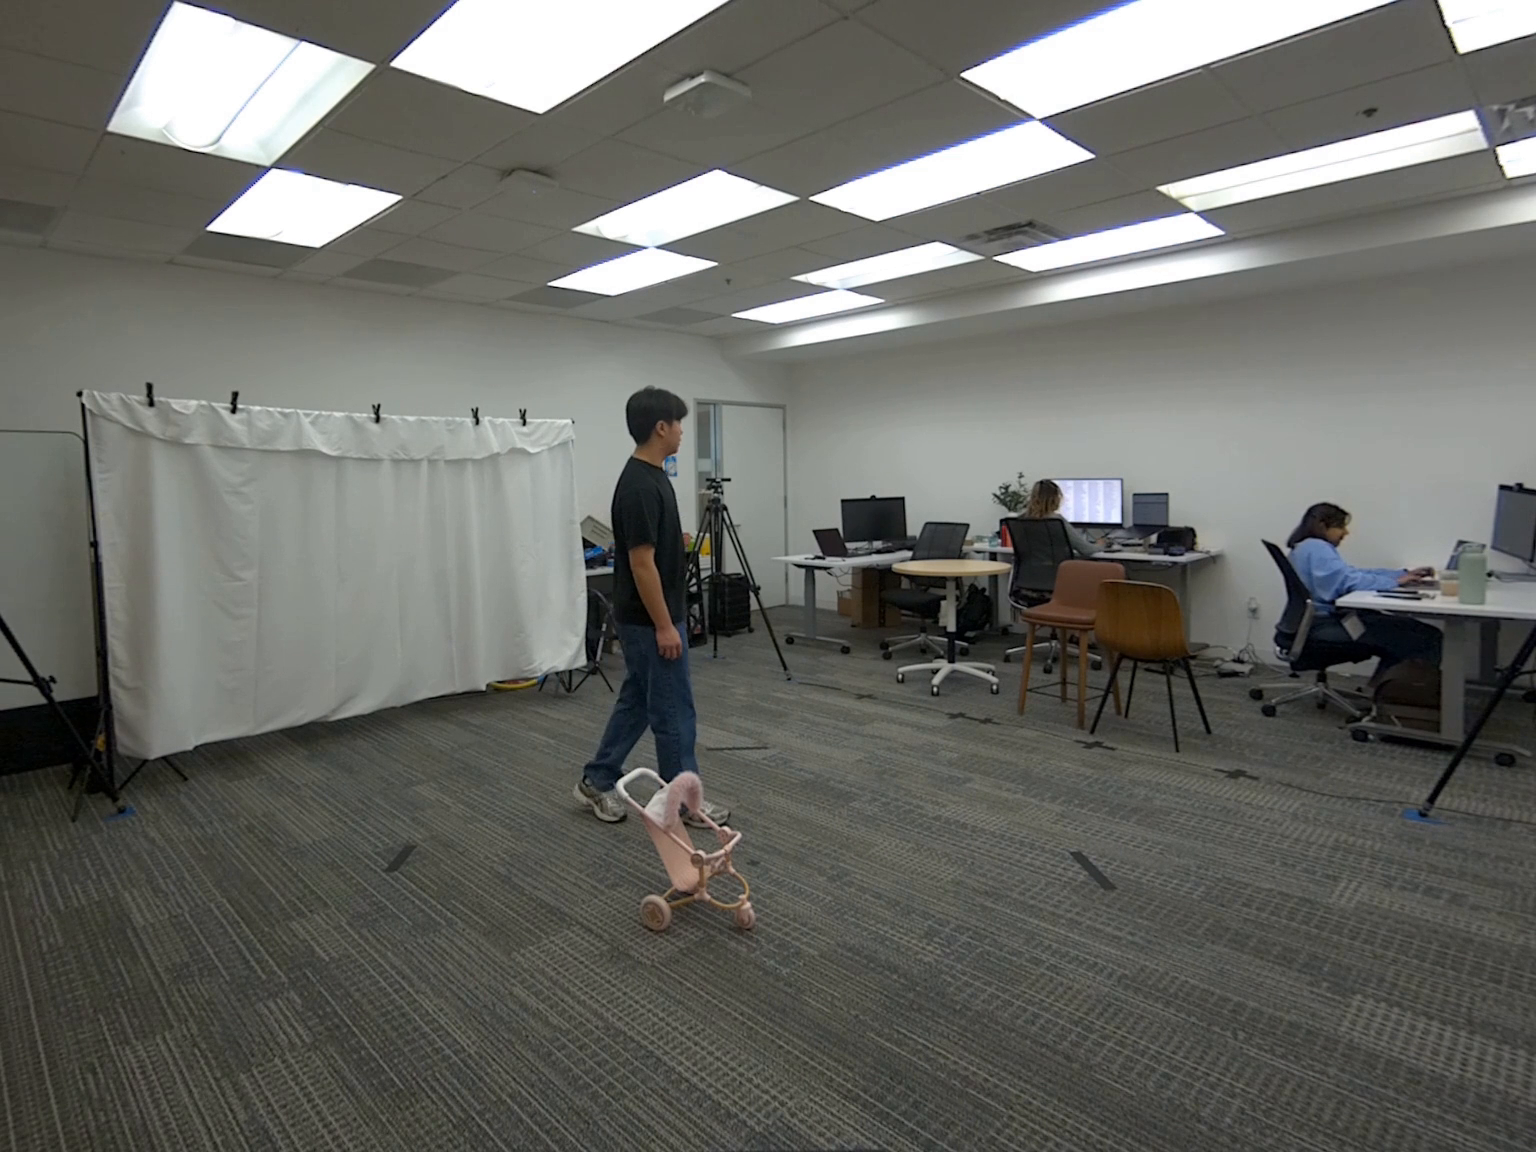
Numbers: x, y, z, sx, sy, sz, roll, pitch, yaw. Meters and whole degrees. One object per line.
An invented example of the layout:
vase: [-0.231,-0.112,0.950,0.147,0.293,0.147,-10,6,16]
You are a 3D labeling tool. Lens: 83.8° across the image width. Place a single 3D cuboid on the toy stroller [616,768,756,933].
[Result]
toy stroller: [-0.243,0.866,2.723,0.347,0.537,0.275,-17,-4,29]
